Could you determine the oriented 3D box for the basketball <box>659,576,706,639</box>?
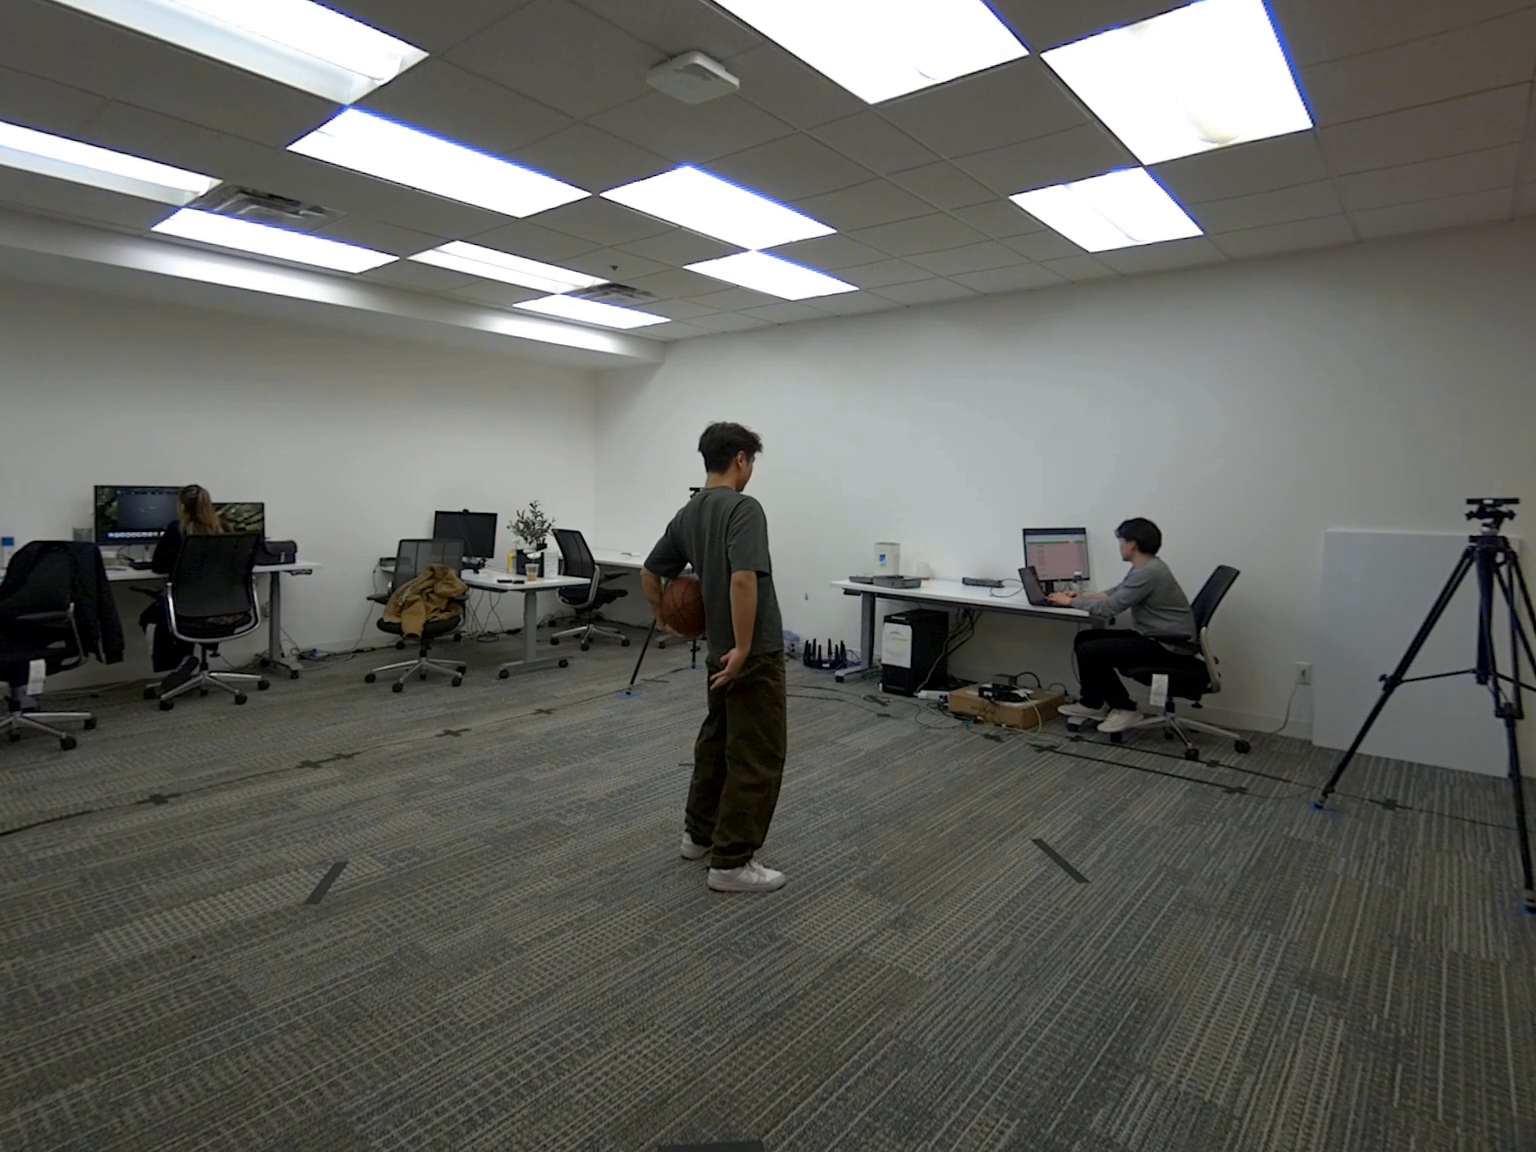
[{"bbox_3d":[-0.302,0.104,3.290,0.235,0.235,0.237,1,4,-2],"label":"basketball"}]
